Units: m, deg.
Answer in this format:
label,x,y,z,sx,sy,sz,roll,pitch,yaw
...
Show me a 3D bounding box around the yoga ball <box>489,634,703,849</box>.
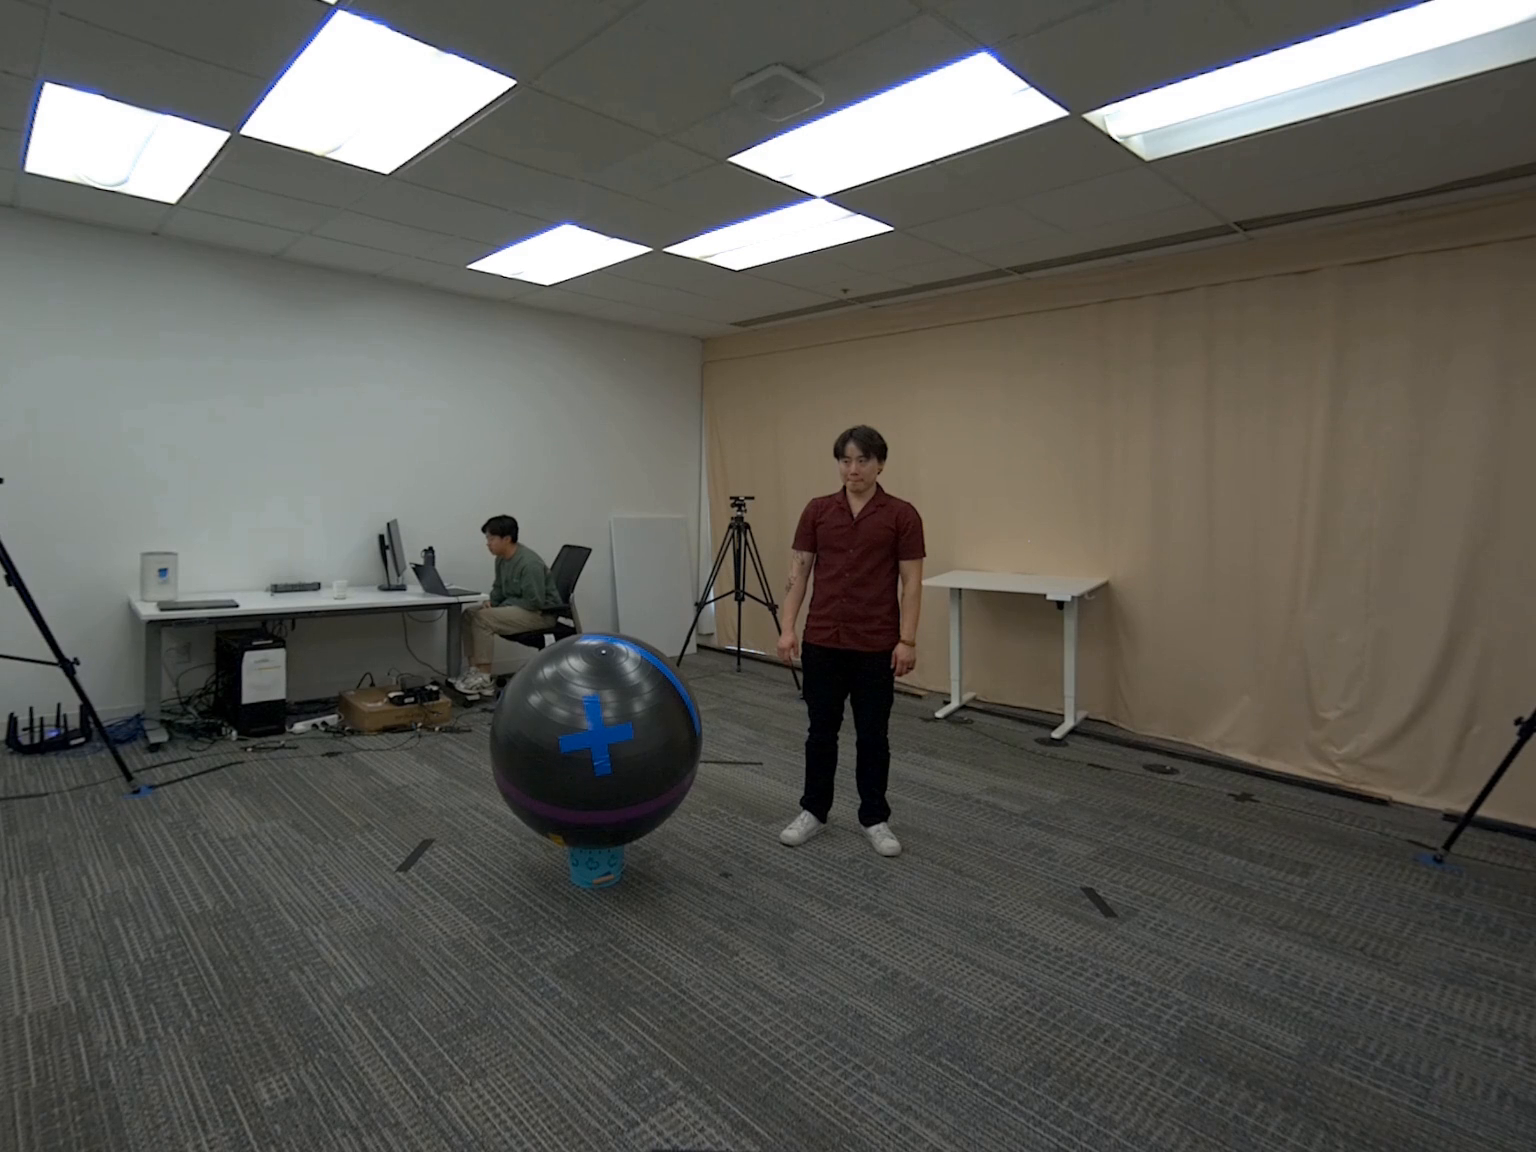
label,x,y,z,sx,sy,sz,roll,pitch,yaw
yoga ball,-0.622,0.592,3.035,0.757,0.756,0.761,1,4,-1
